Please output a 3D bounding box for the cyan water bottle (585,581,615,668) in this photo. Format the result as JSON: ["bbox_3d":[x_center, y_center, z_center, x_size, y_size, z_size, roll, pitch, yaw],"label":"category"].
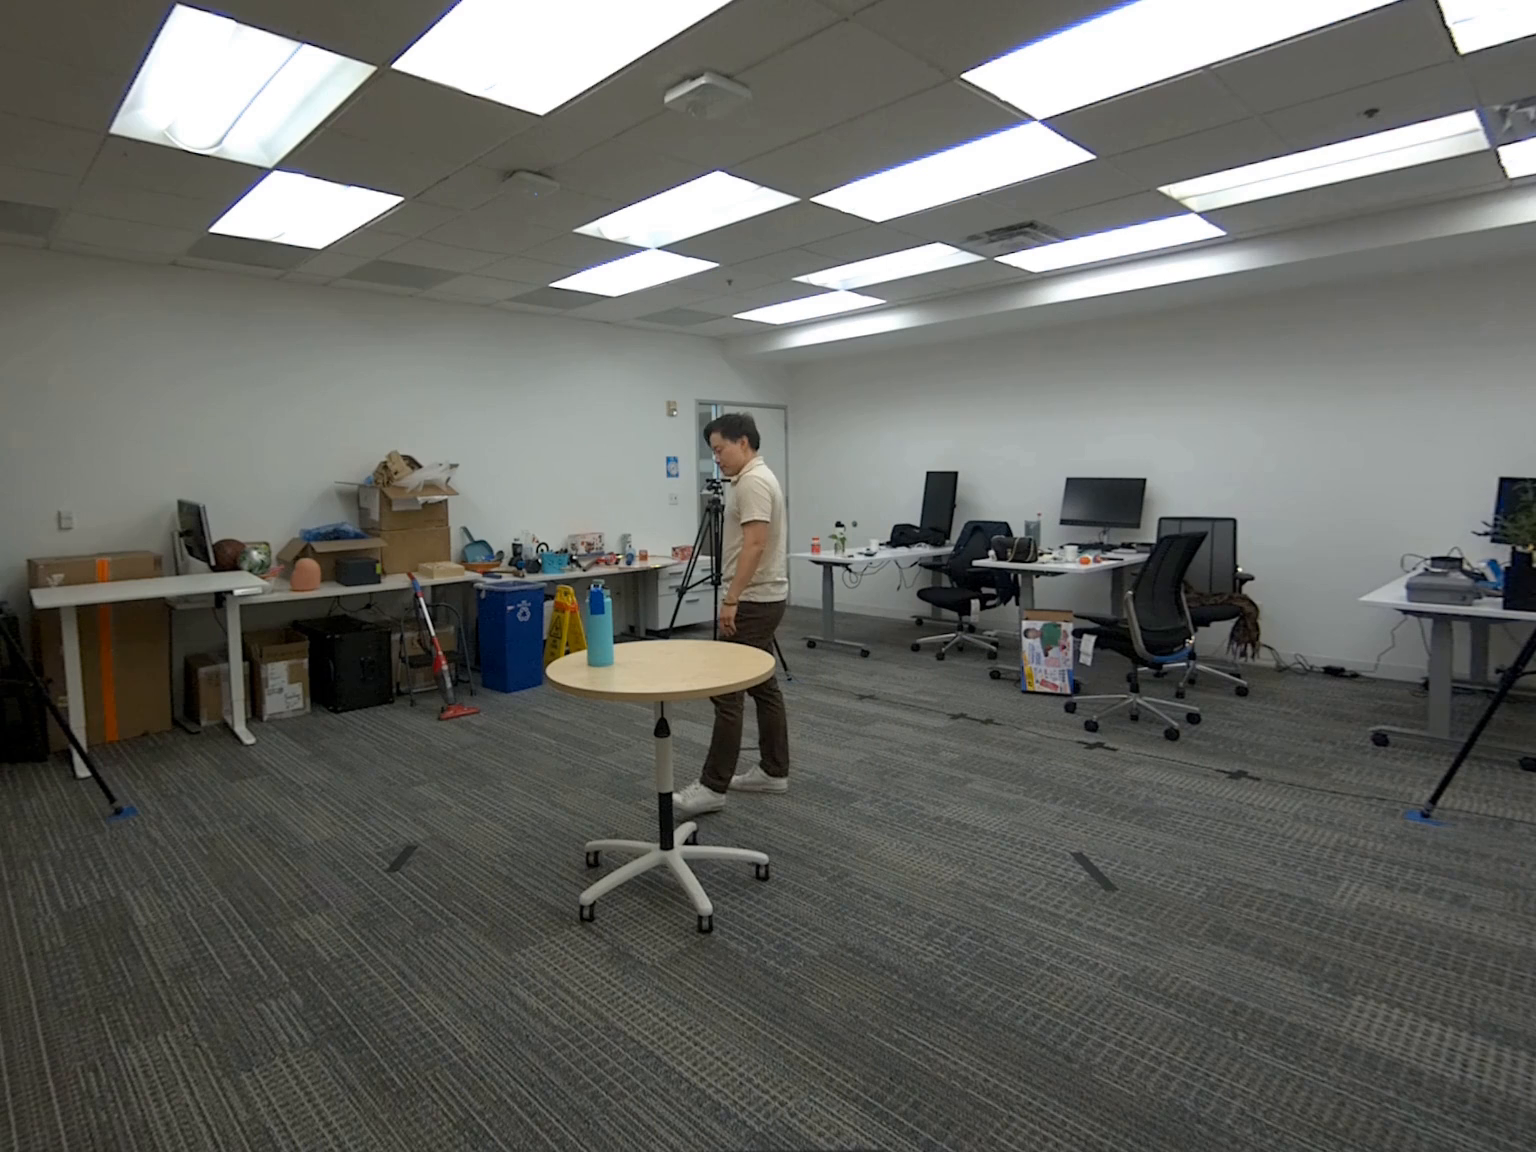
[{"bbox_3d":[-0.568,0.158,2.877,0.092,0.282,0.093,0,4,-2],"label":"cyan water bottle"}]
